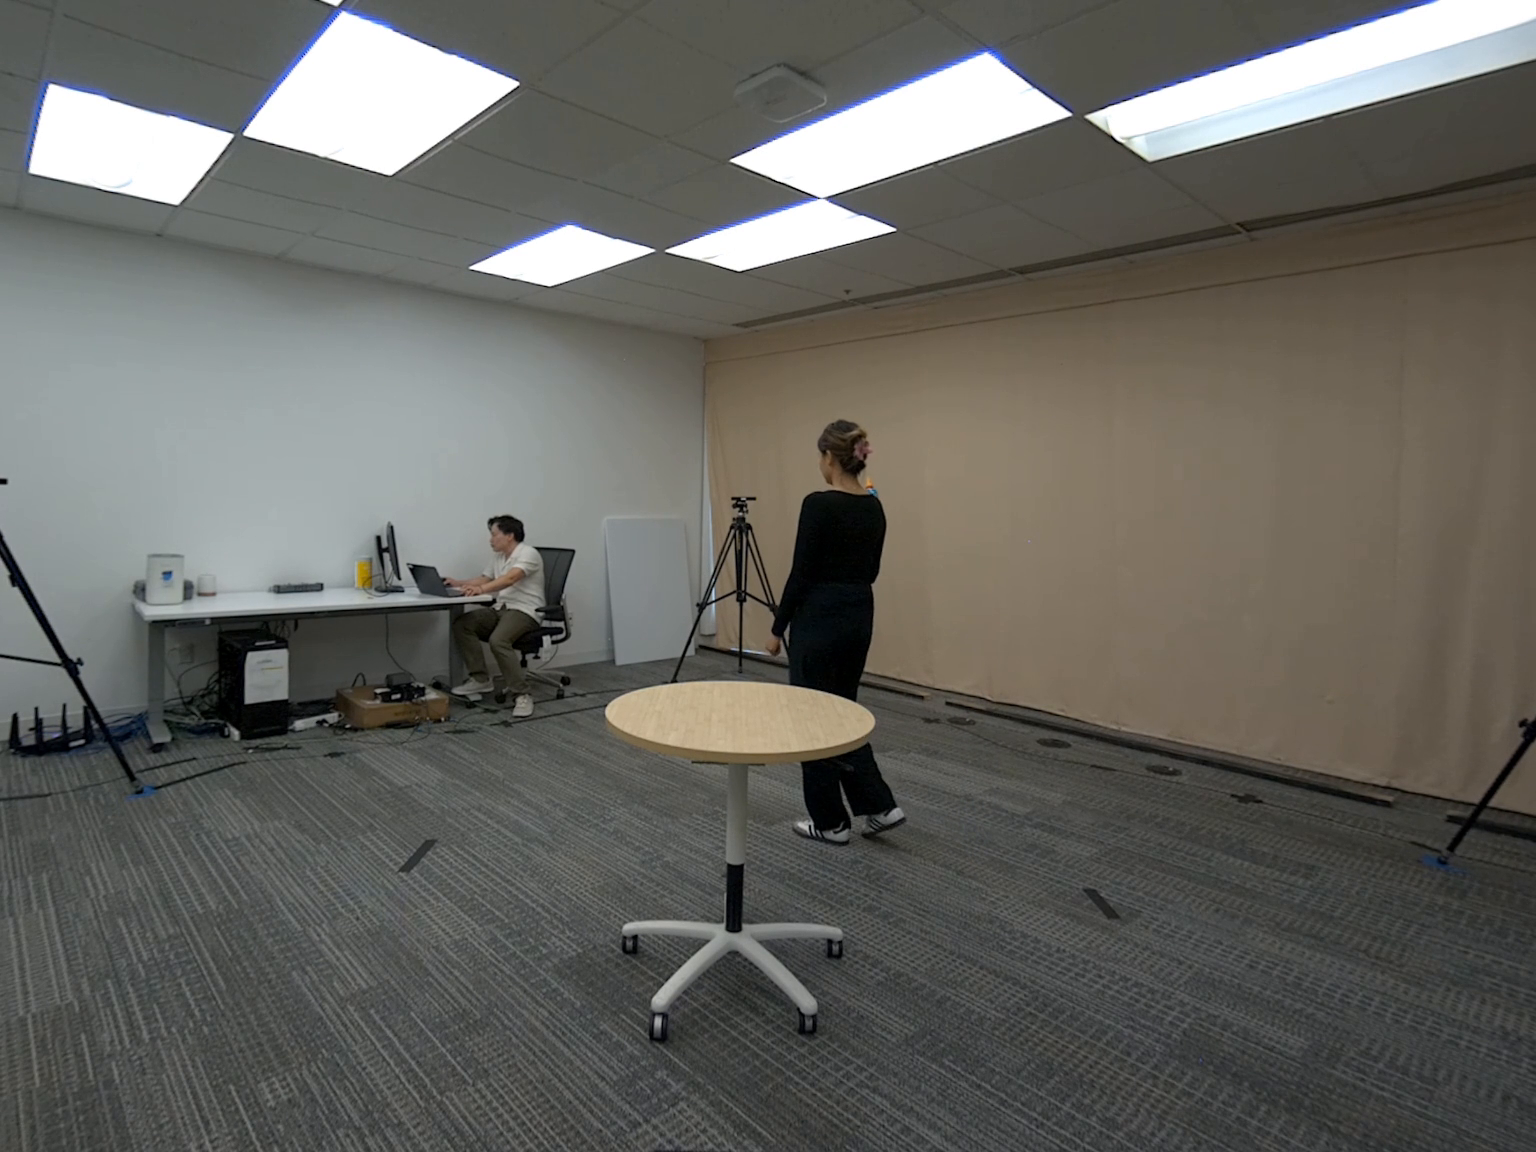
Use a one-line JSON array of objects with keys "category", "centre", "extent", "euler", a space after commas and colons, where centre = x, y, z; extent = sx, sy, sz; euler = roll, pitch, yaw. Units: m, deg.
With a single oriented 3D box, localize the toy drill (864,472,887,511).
[{"category": "toy drill", "centre": [0.424, -0.341, 3.693], "extent": [0.059, 0.173, 0.147], "euler": [18, -37, -38]}]
